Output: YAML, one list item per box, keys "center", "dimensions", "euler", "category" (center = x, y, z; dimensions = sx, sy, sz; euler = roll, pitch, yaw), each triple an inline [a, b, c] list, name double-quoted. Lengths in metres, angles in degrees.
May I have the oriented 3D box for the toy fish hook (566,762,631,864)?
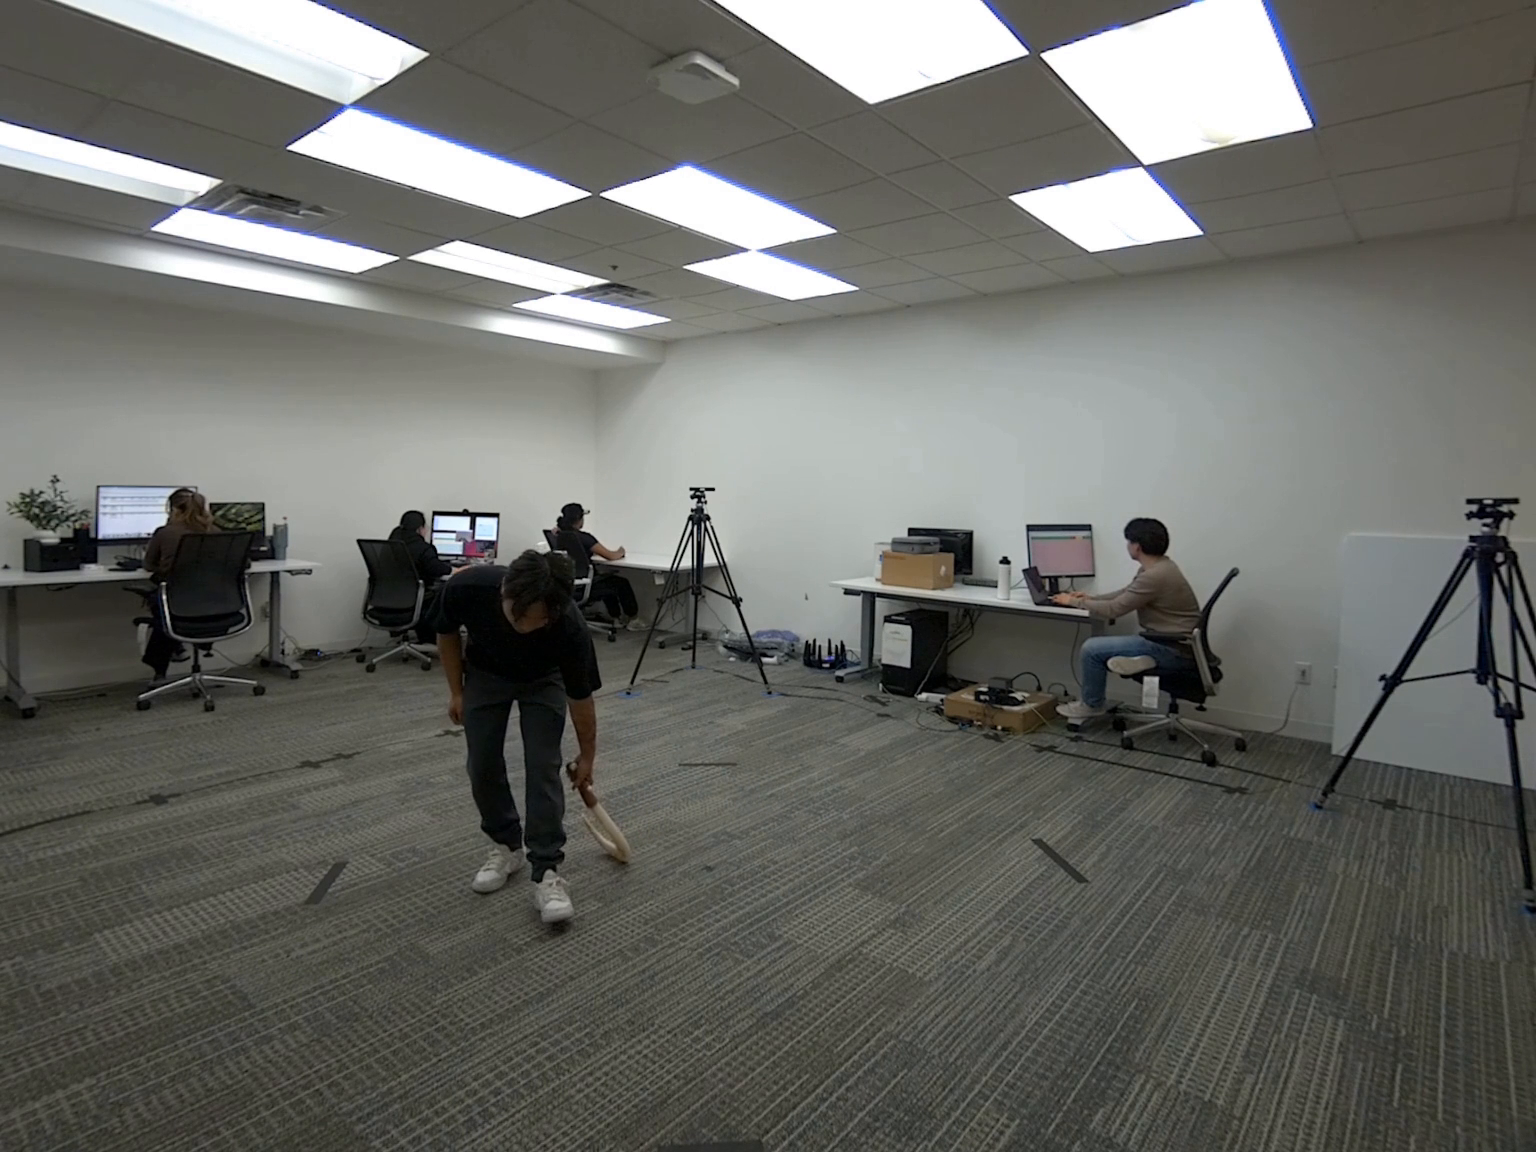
- center: [-0.654, 0.855, 3.078]
  dimensions: [0.232, 0.491, 0.048]
  euler: [3, 35, 39]
  category: "toy fish hook"
